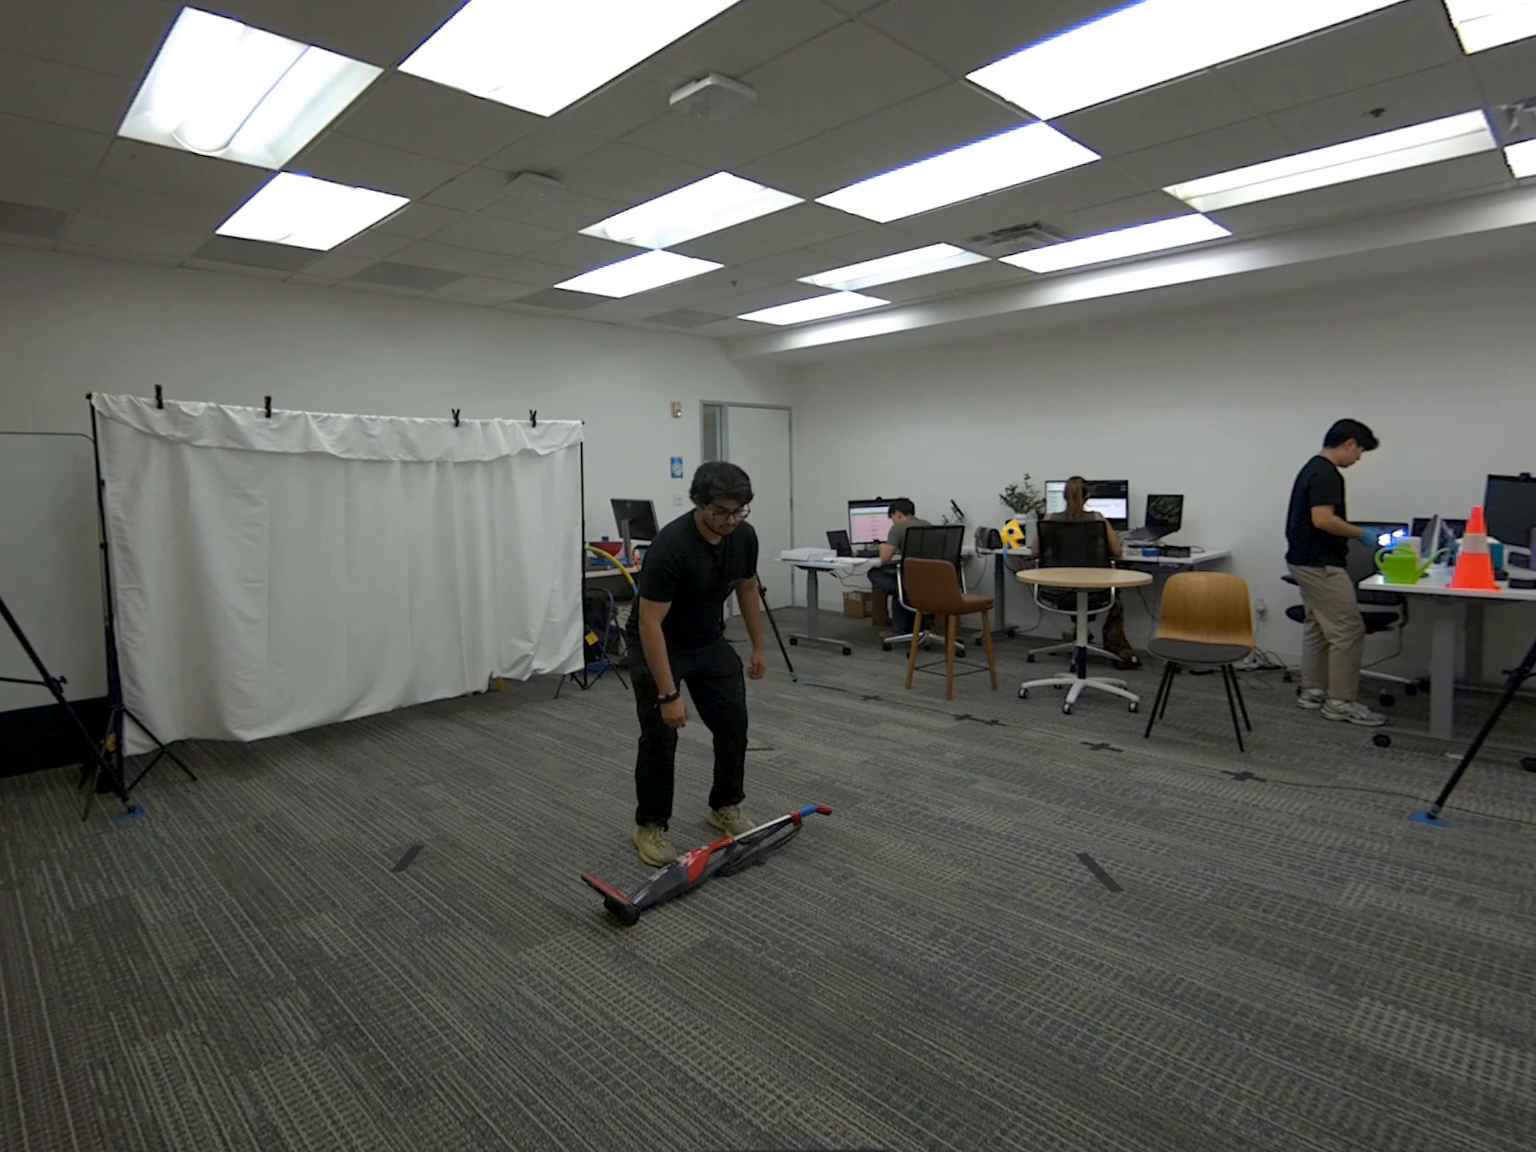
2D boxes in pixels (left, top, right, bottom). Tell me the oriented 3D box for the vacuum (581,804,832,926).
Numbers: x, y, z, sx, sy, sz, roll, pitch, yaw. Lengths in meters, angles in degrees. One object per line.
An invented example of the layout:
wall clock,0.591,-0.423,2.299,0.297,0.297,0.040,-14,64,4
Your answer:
vacuum,-0.128,0.997,3.058,1.022,0.143,0.260,-6,9,-42
